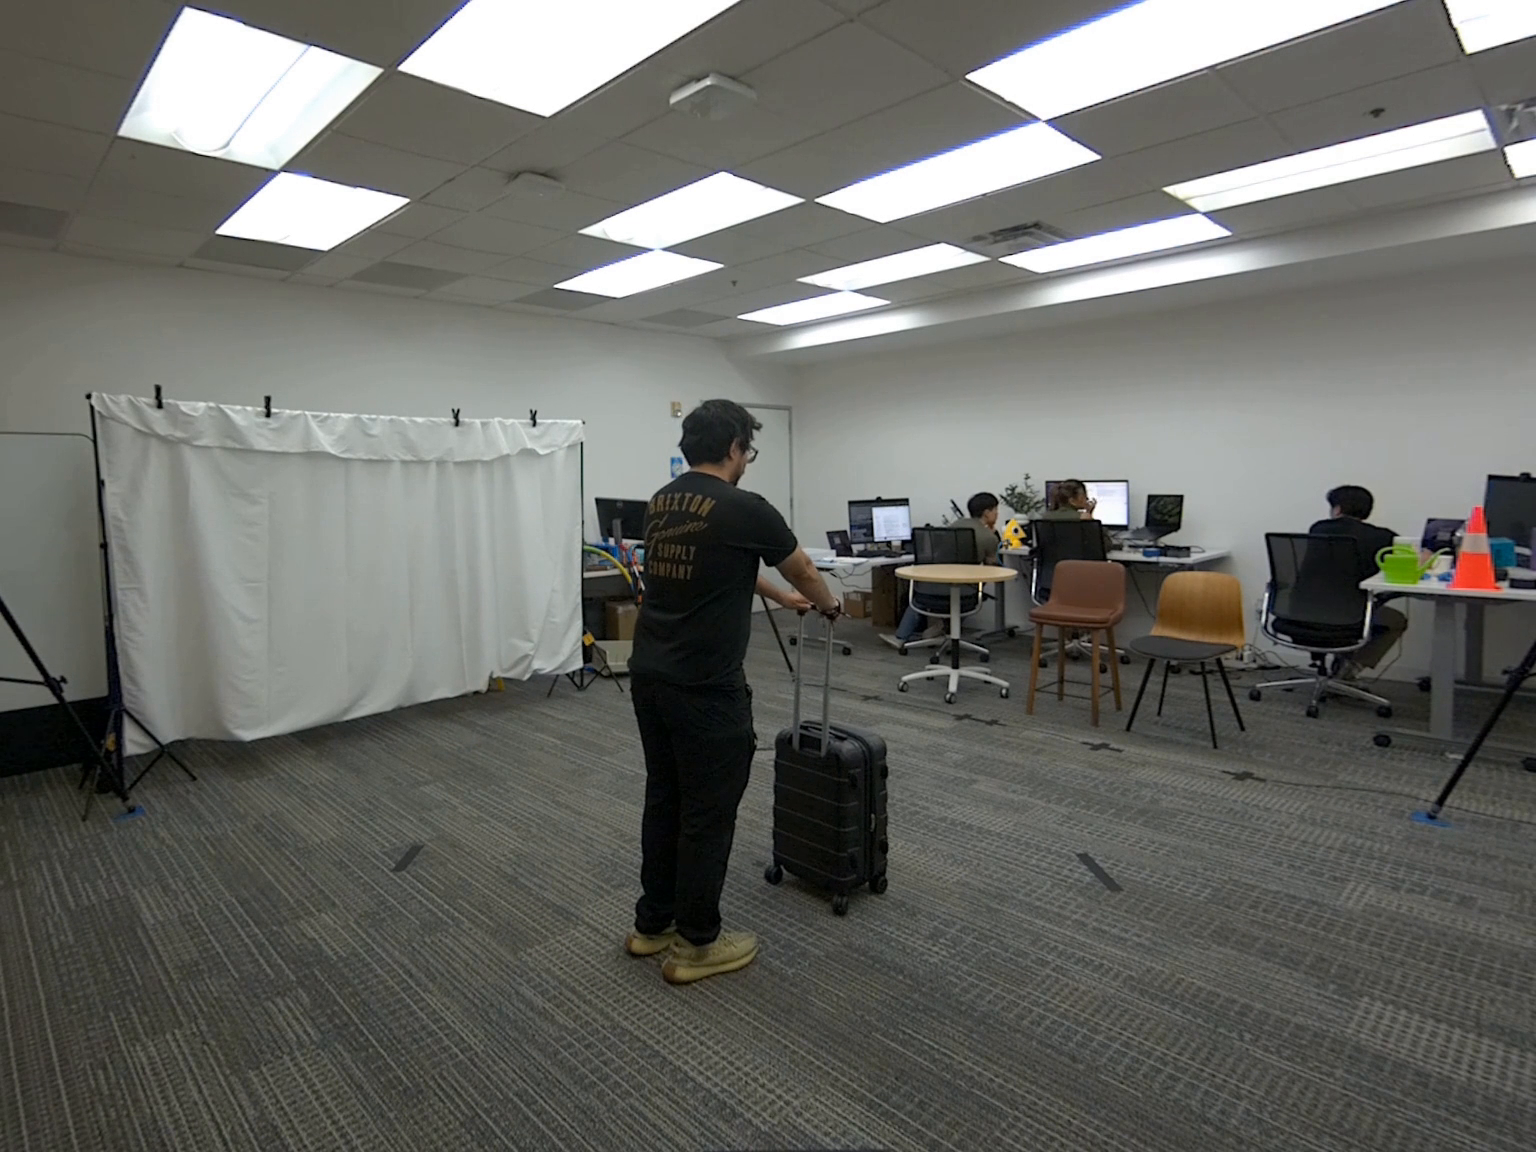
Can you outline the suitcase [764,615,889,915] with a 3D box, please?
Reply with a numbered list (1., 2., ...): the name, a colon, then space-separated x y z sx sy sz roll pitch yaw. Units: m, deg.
1. suitcase: 0.220 0.588 2.932 0.249 0.978 0.396 2 0 -43
